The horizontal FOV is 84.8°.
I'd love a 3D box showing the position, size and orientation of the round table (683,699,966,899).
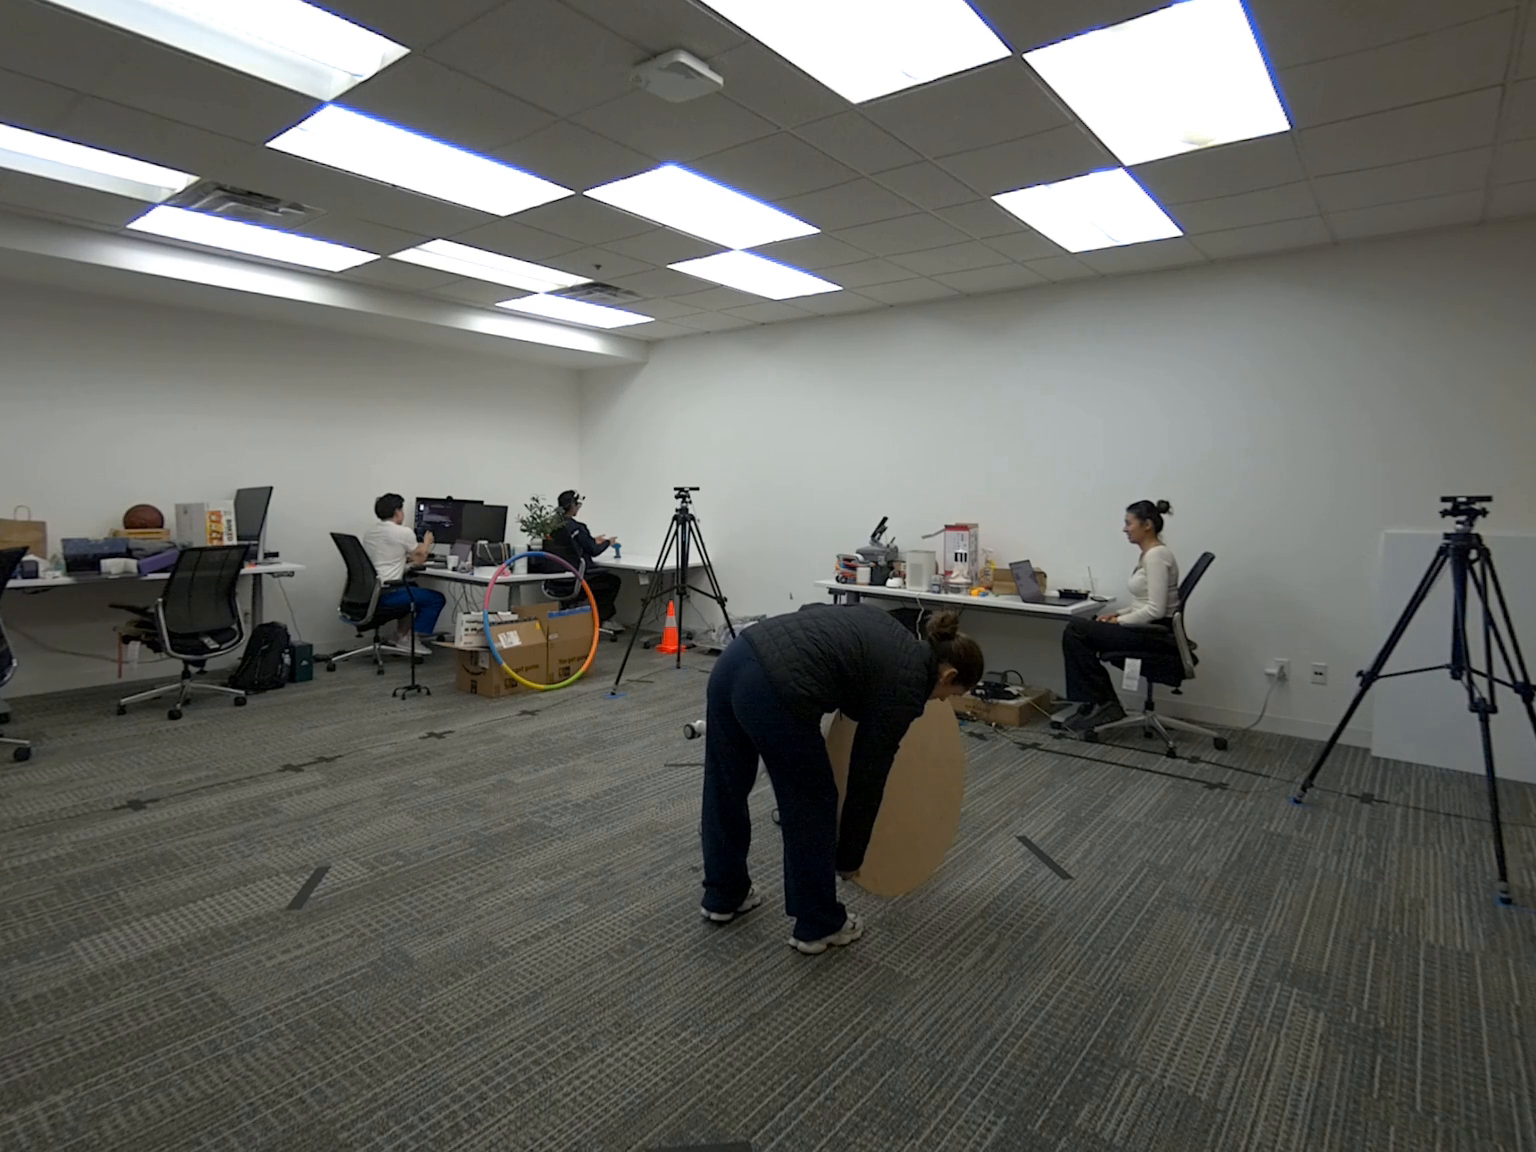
[{"bbox_3d":[0.195,0.703,3.197,0.761,0.788,0.808,-3,-3,-42],"label":"round table"}]
